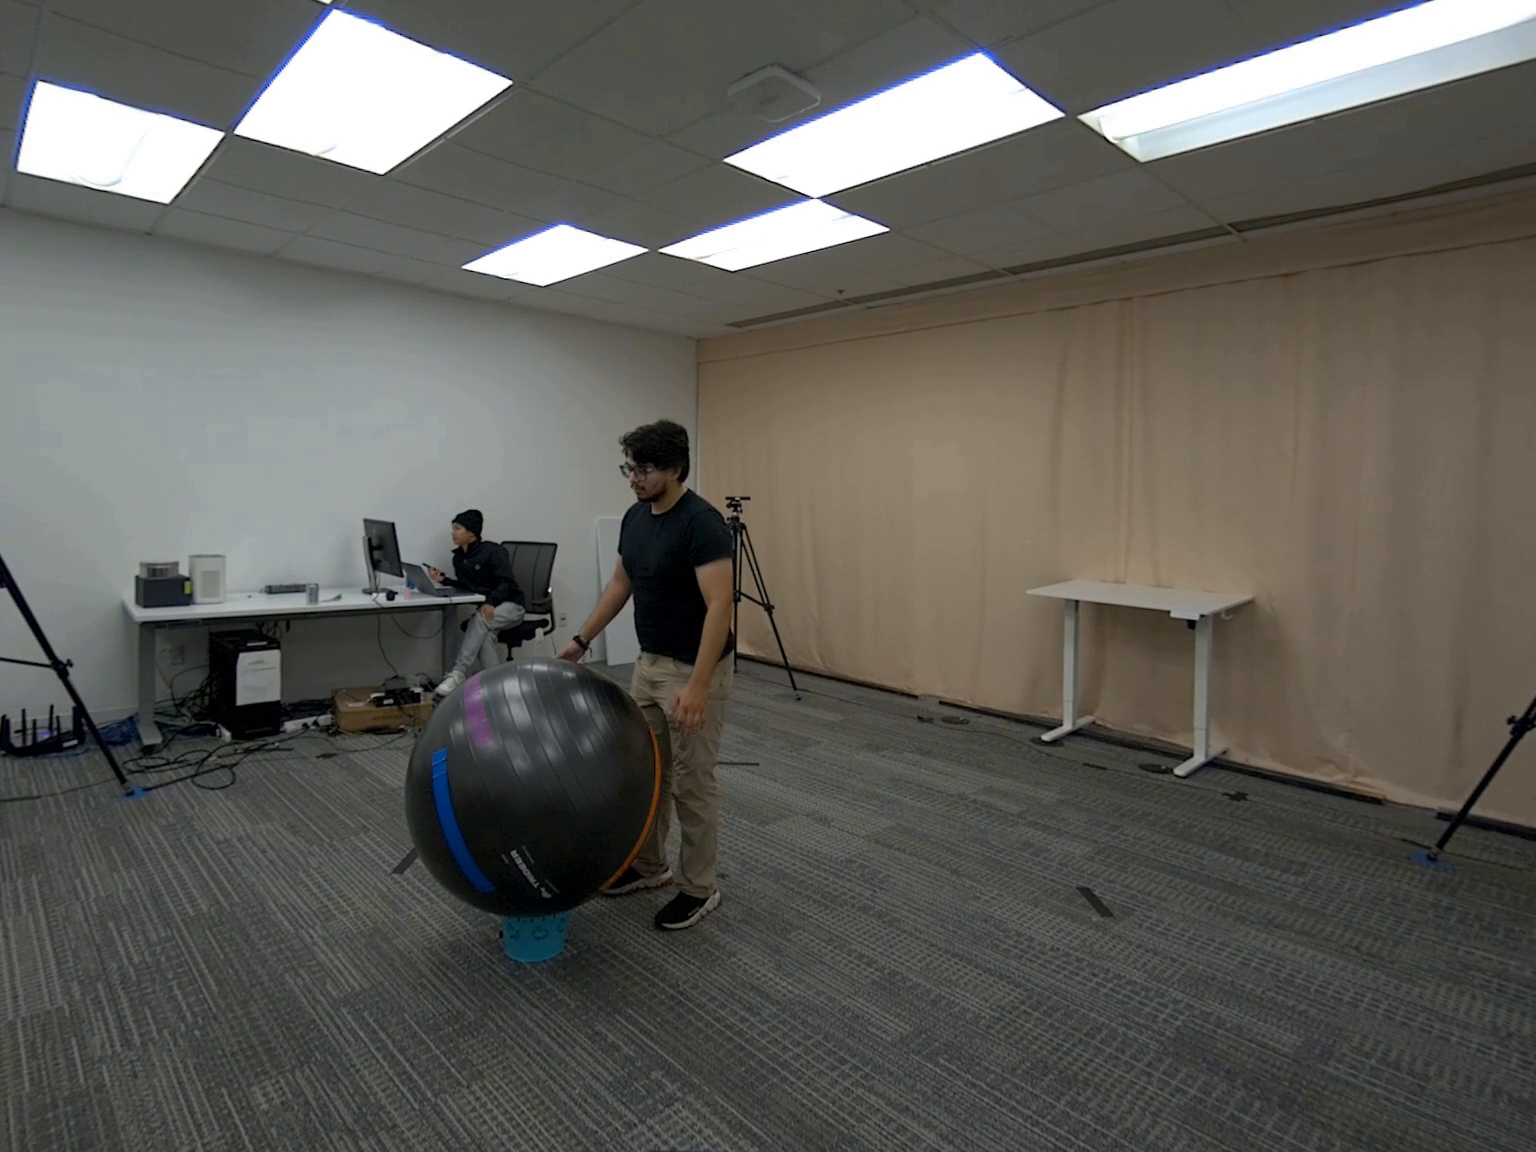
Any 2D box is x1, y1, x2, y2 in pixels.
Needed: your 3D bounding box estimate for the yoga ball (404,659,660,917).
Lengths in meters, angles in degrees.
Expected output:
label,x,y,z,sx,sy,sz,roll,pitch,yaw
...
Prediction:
label,x,y,z,sx,sy,sz,roll,pitch,yaw
yoga ball,-0.711,0.635,2.567,0.757,0.756,0.761,1,4,-1
